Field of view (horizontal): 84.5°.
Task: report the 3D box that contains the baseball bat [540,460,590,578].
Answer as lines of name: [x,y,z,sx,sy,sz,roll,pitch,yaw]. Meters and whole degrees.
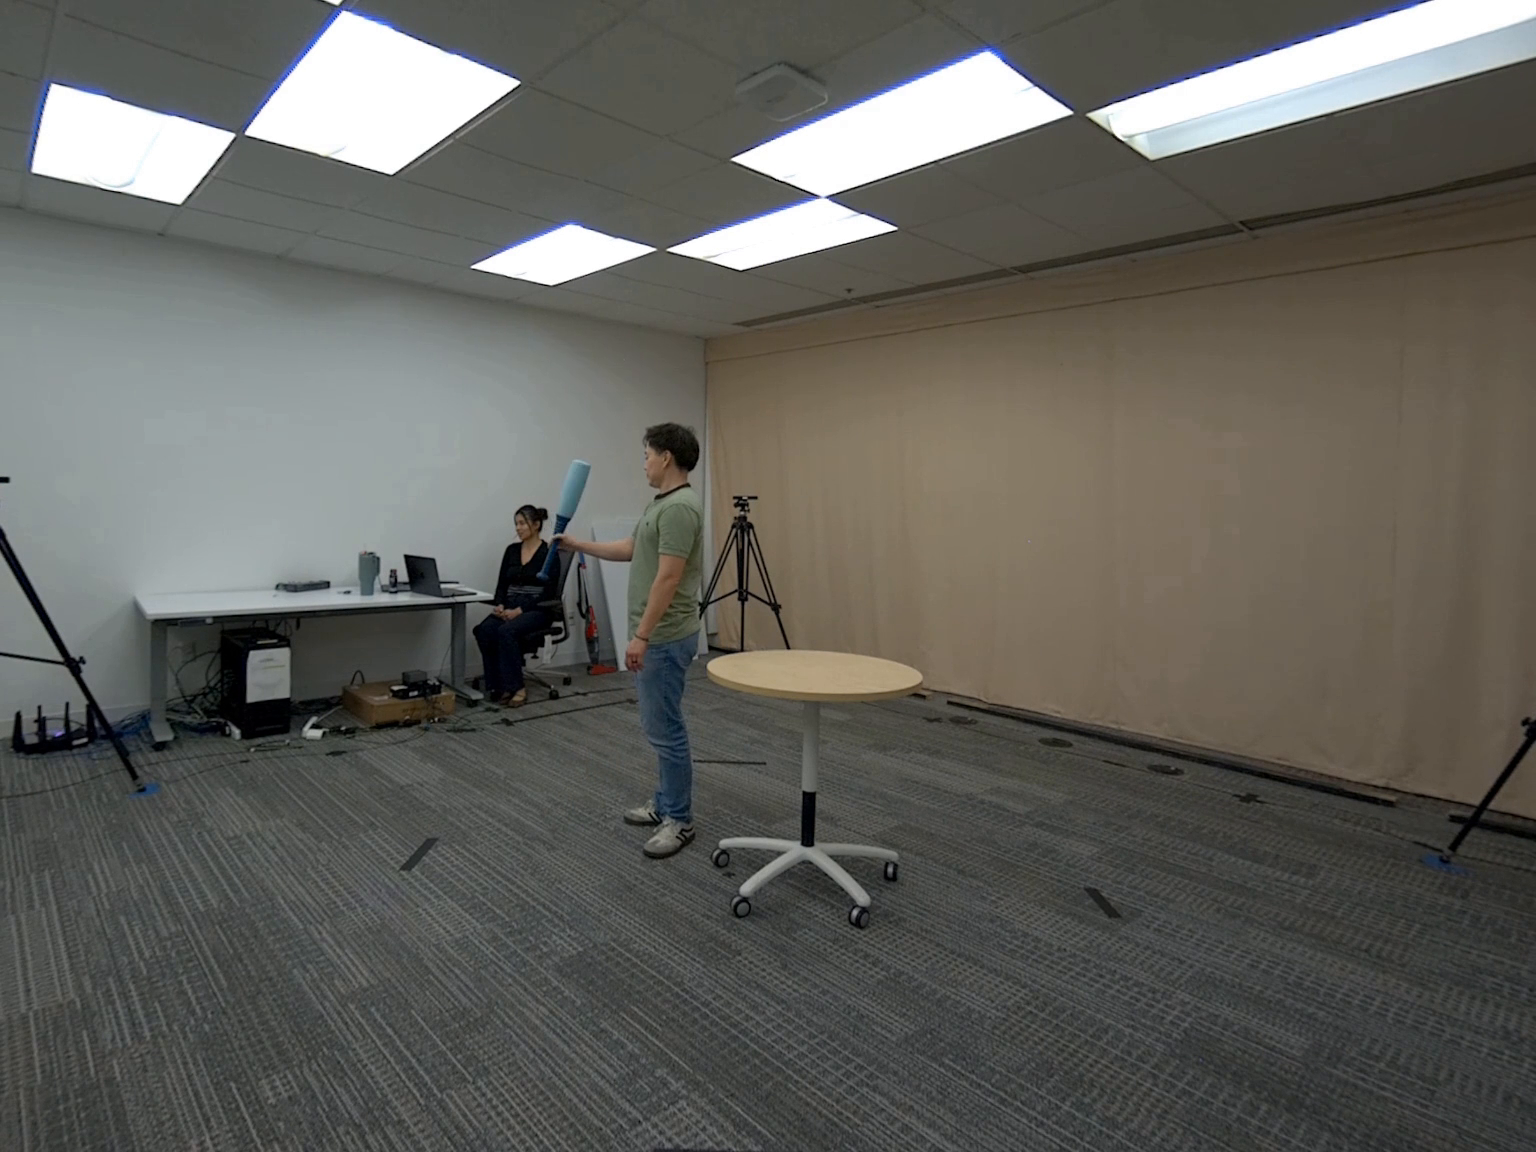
baseball bat: [-0.896,-0.240,3.659,0.089,0.542,0.089,19,2,-2]
